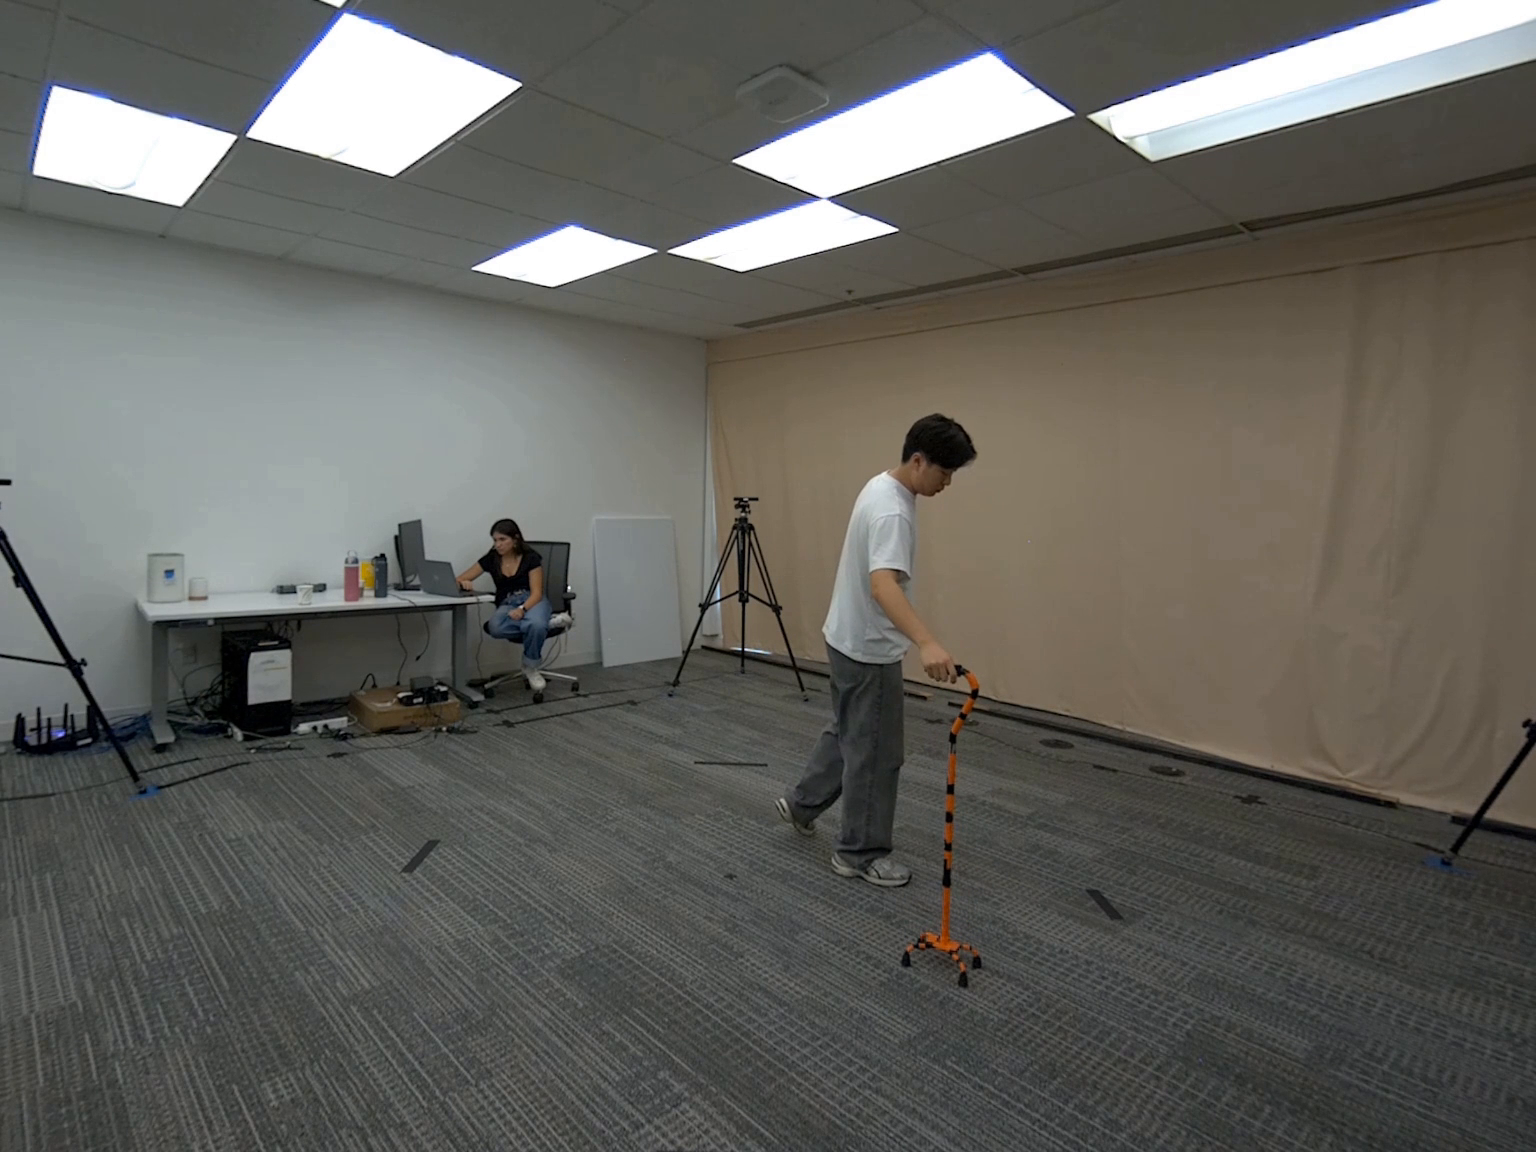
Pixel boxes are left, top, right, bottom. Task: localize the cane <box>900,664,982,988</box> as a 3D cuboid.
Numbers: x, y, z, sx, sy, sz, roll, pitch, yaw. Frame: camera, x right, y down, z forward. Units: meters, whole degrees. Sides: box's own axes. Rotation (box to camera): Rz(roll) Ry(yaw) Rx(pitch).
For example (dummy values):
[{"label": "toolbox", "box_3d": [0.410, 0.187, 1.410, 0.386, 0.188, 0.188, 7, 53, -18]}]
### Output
[{"label": "cane", "box_3d": [0.532, 0.728, 2.512, 0.211, 0.906, 0.148, 4, 3, 32]}]
